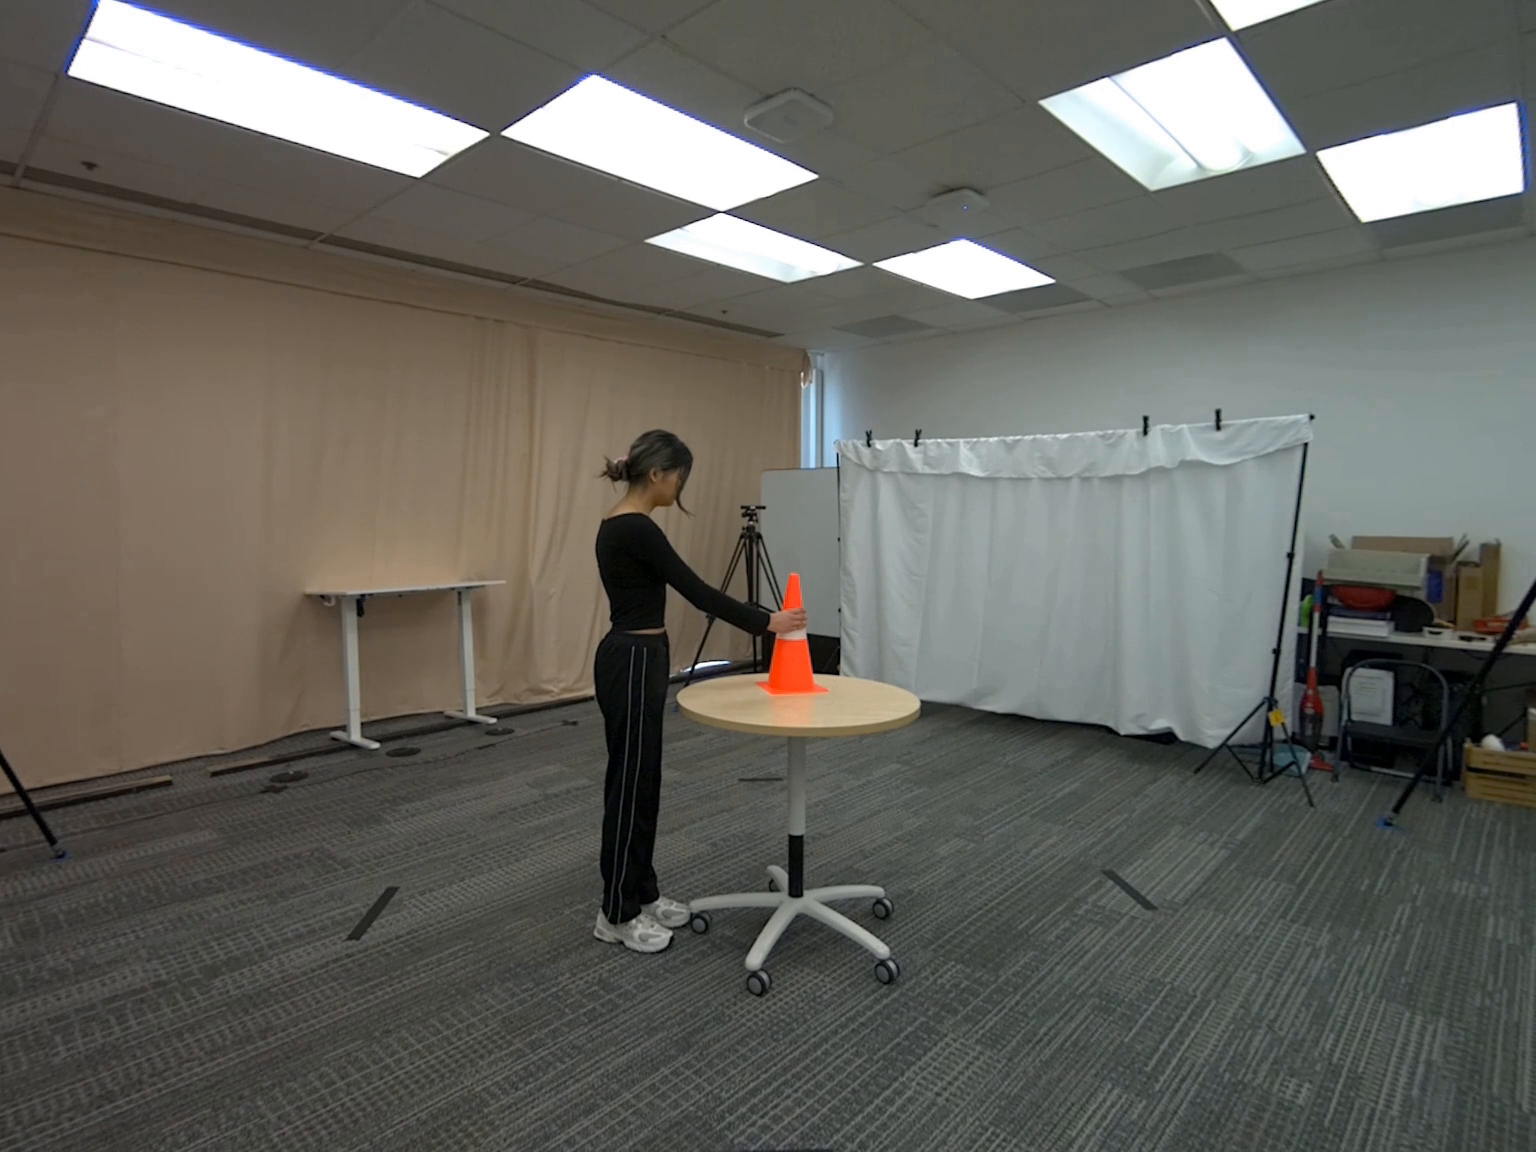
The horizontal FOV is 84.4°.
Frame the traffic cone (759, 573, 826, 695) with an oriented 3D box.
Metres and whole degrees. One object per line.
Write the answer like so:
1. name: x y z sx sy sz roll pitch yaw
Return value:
1. traffic cone: 0.083 0.187 2.806 0.200 0.383 0.209 0 4 -15
